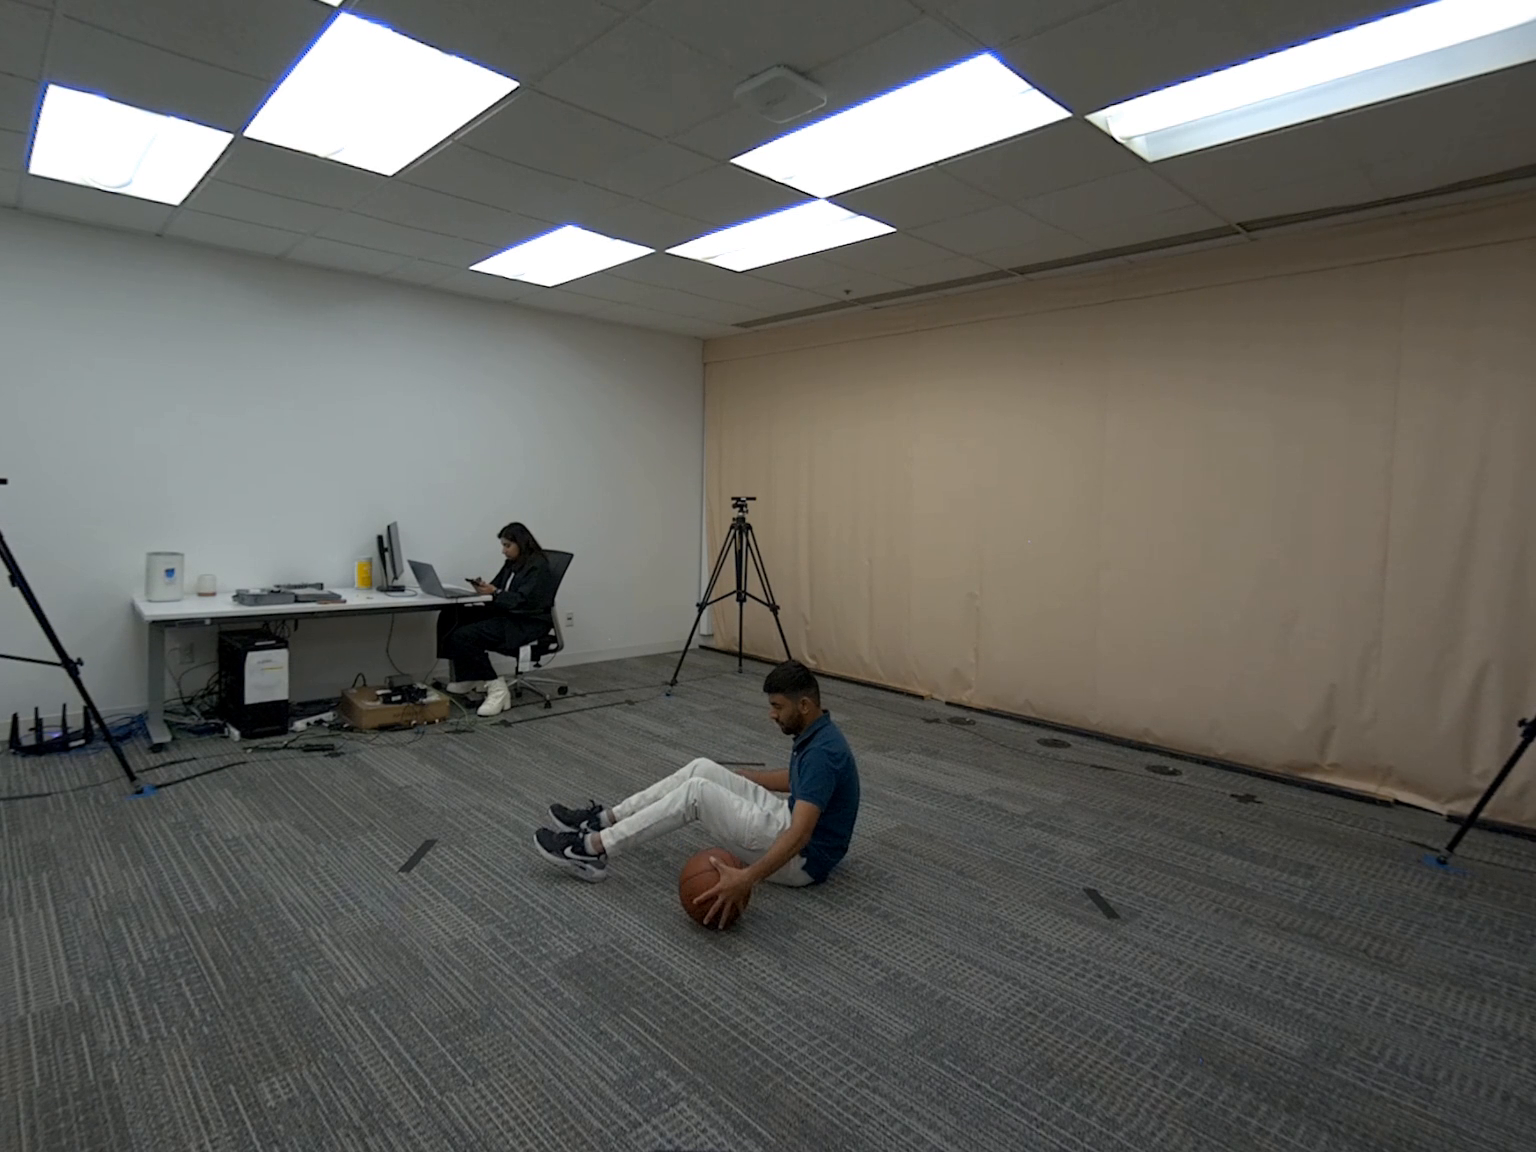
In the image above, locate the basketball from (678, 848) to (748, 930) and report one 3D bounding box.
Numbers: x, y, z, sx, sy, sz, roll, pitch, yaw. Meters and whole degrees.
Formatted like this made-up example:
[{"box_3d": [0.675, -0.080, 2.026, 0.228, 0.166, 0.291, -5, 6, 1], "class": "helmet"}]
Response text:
[{"box_3d": [-0.188, 1.016, 2.757, 0.236, 0.235, 0.237, 1, 4, -1], "class": "basketball"}]
